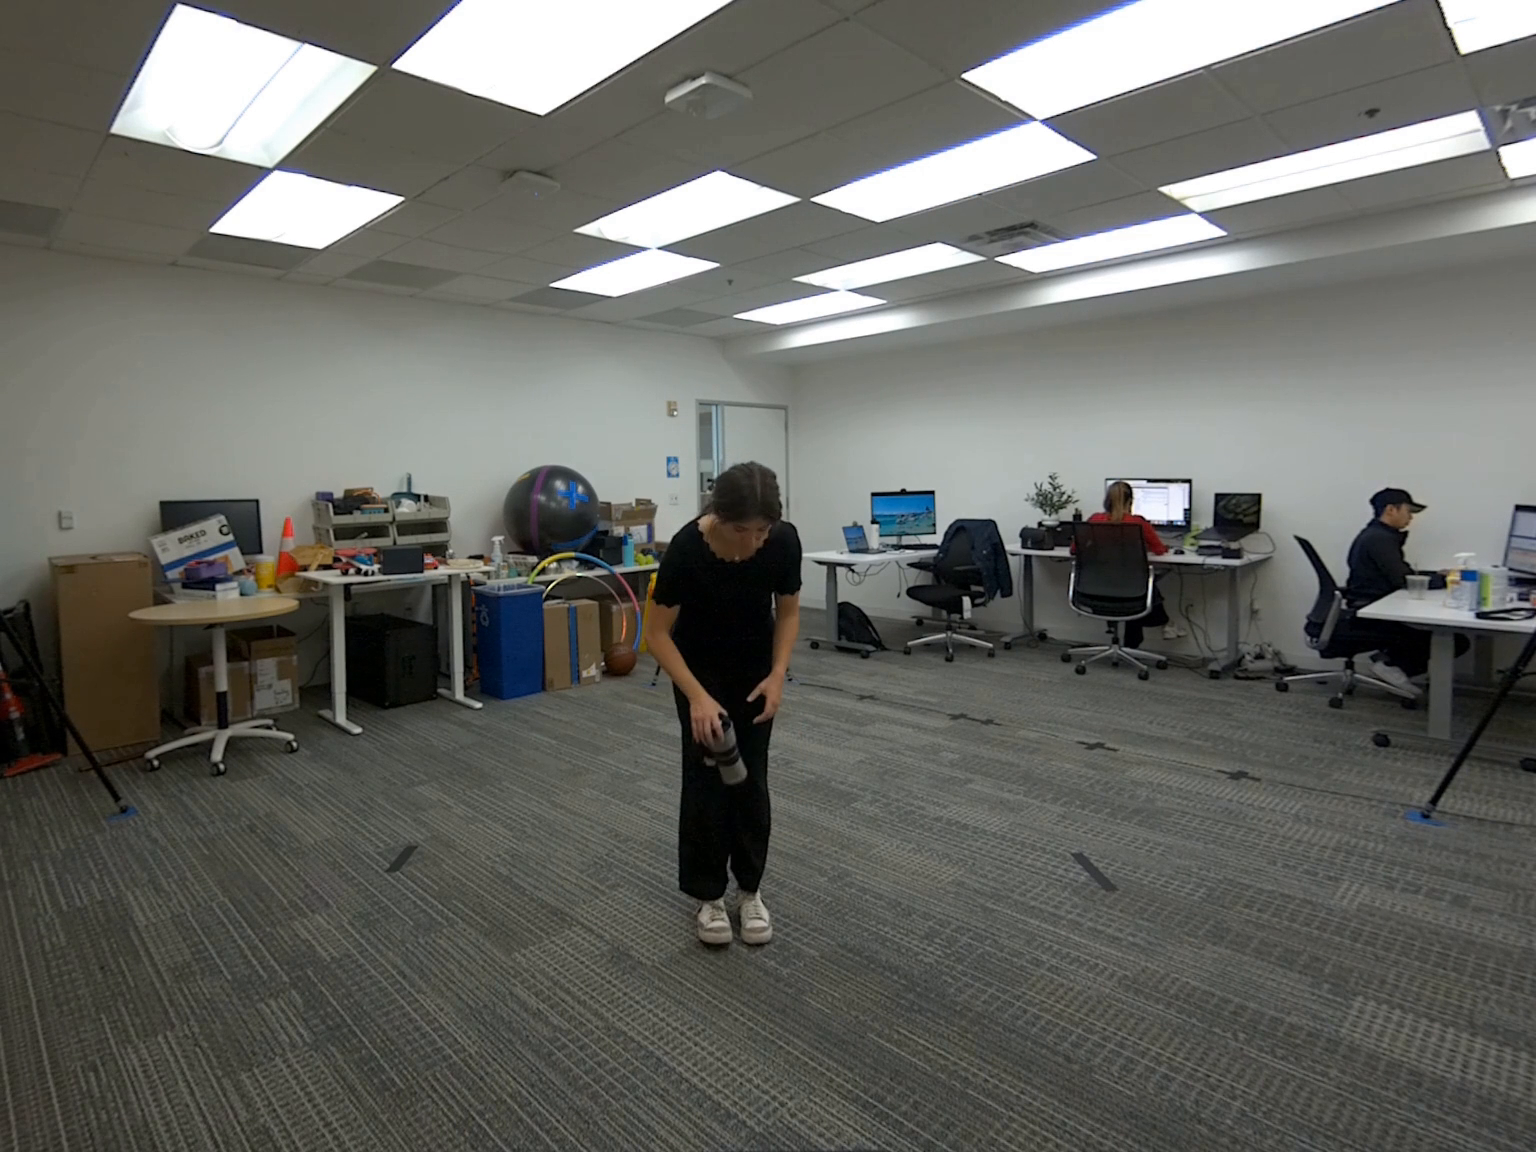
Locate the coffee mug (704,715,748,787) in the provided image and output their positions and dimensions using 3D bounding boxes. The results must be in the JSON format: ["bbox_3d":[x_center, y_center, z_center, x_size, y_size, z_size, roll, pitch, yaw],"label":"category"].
[{"bbox_3d":[-0.144,0.506,2.446,0.124,0.198,0.089,-4,27,15],"label":"coffee mug"}]
